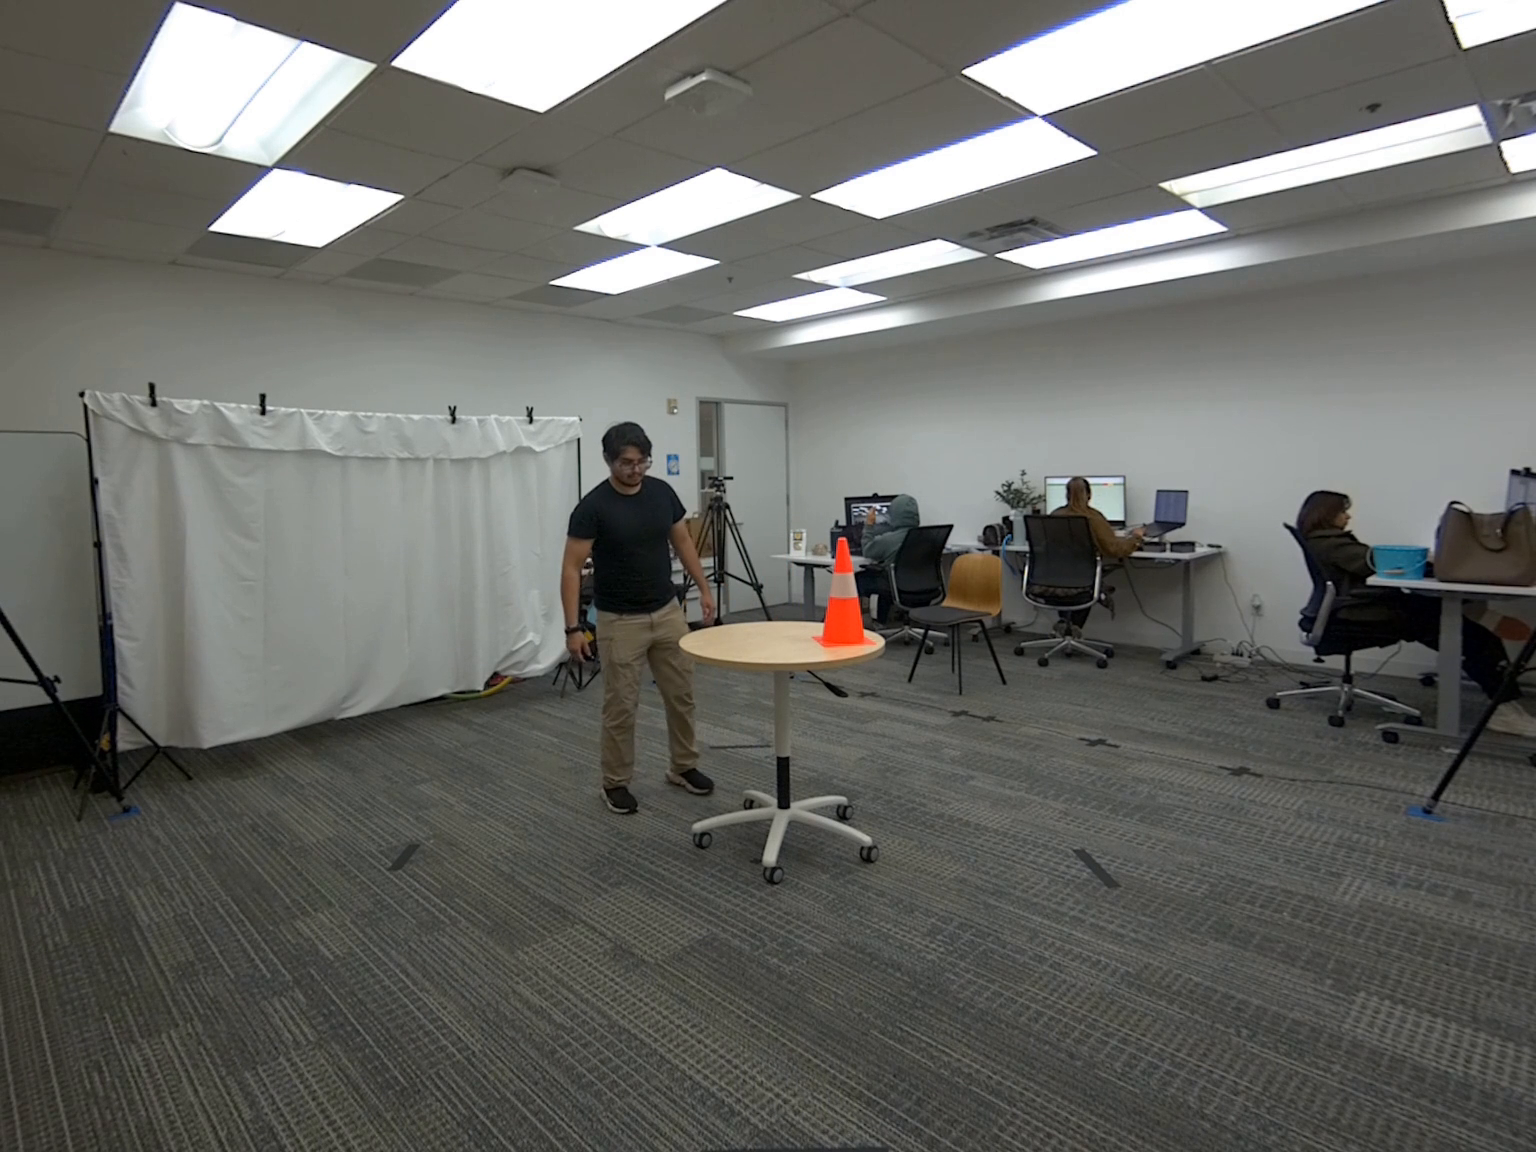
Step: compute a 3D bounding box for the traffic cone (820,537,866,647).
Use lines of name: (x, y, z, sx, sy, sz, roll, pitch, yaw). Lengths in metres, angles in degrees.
traffic cone: (0.279, 0.055, 3.154, 0.201, 0.383, 0.208, -4, 3, -23)
